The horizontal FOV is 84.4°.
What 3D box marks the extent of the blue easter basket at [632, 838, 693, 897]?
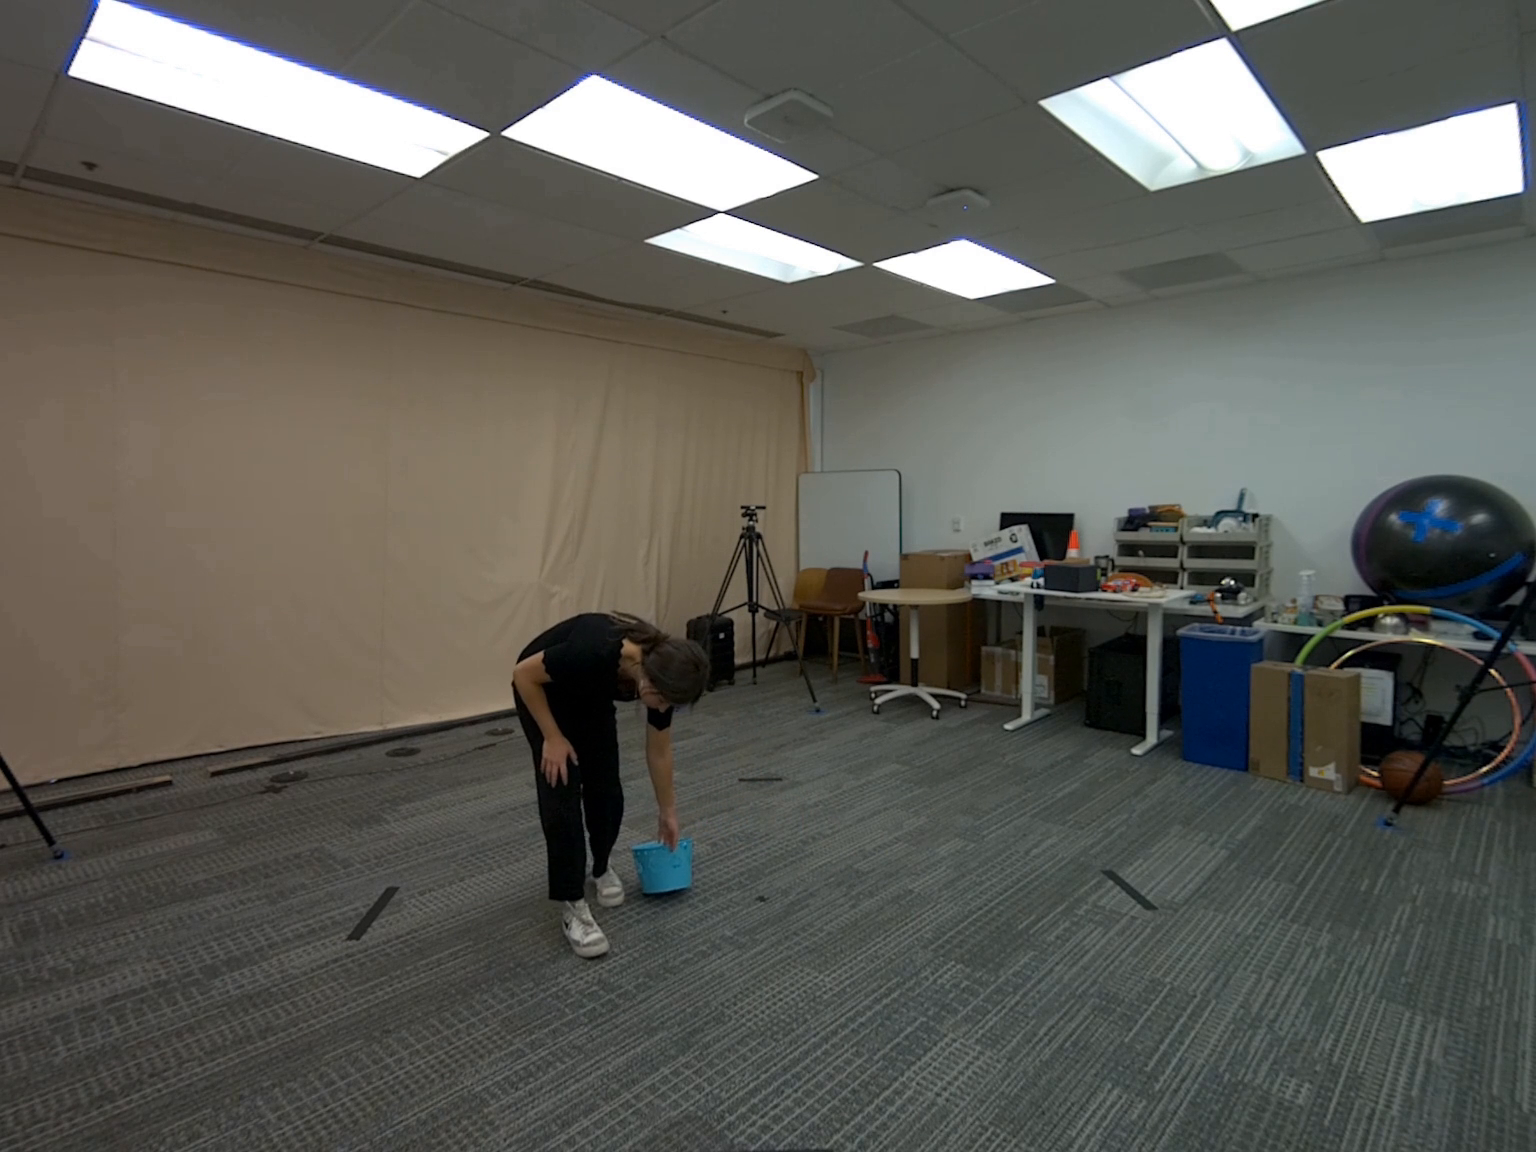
[{"bbox_3d":[-0.381,1.044,3.025,0.243,0.157,0.242,-7,-12,-3],"label":"blue easter basket"}]
